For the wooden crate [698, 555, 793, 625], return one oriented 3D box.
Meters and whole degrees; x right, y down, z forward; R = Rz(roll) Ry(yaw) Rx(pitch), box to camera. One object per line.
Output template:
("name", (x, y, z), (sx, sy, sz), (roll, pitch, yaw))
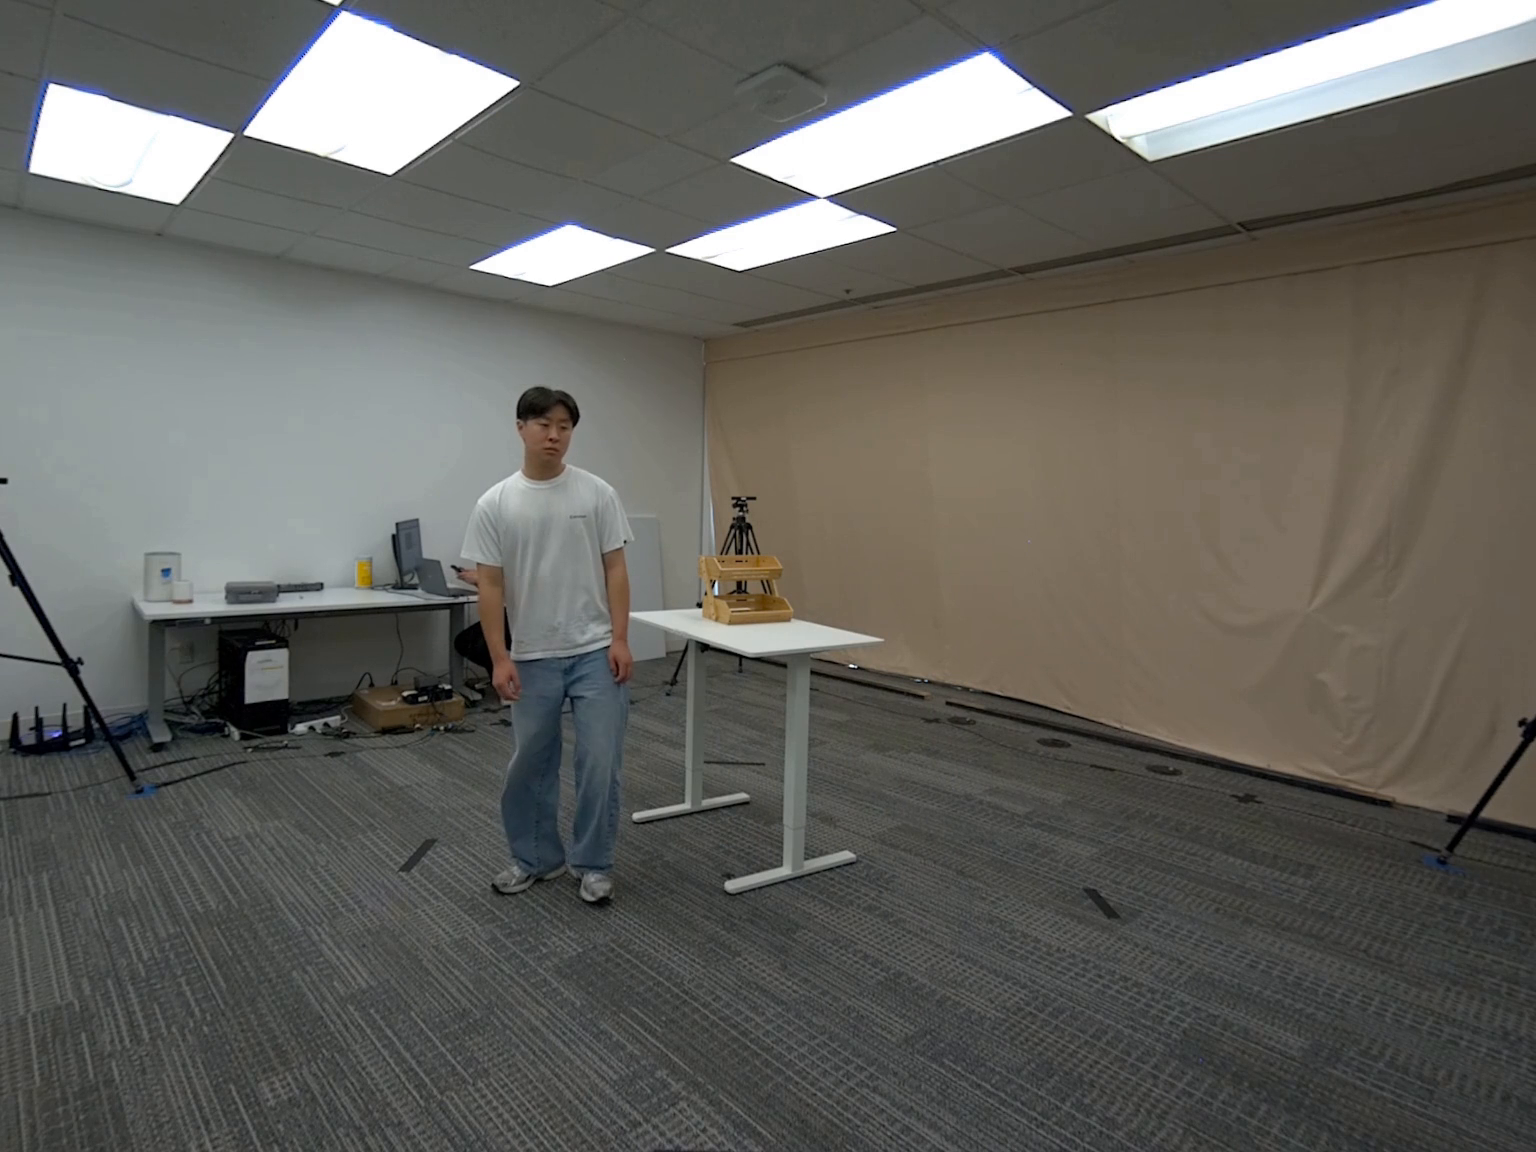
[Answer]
("wooden crate", (-0.106, 0.048, 3.566), (0.318, 0.273, 0.309), (0, 4, -30))
